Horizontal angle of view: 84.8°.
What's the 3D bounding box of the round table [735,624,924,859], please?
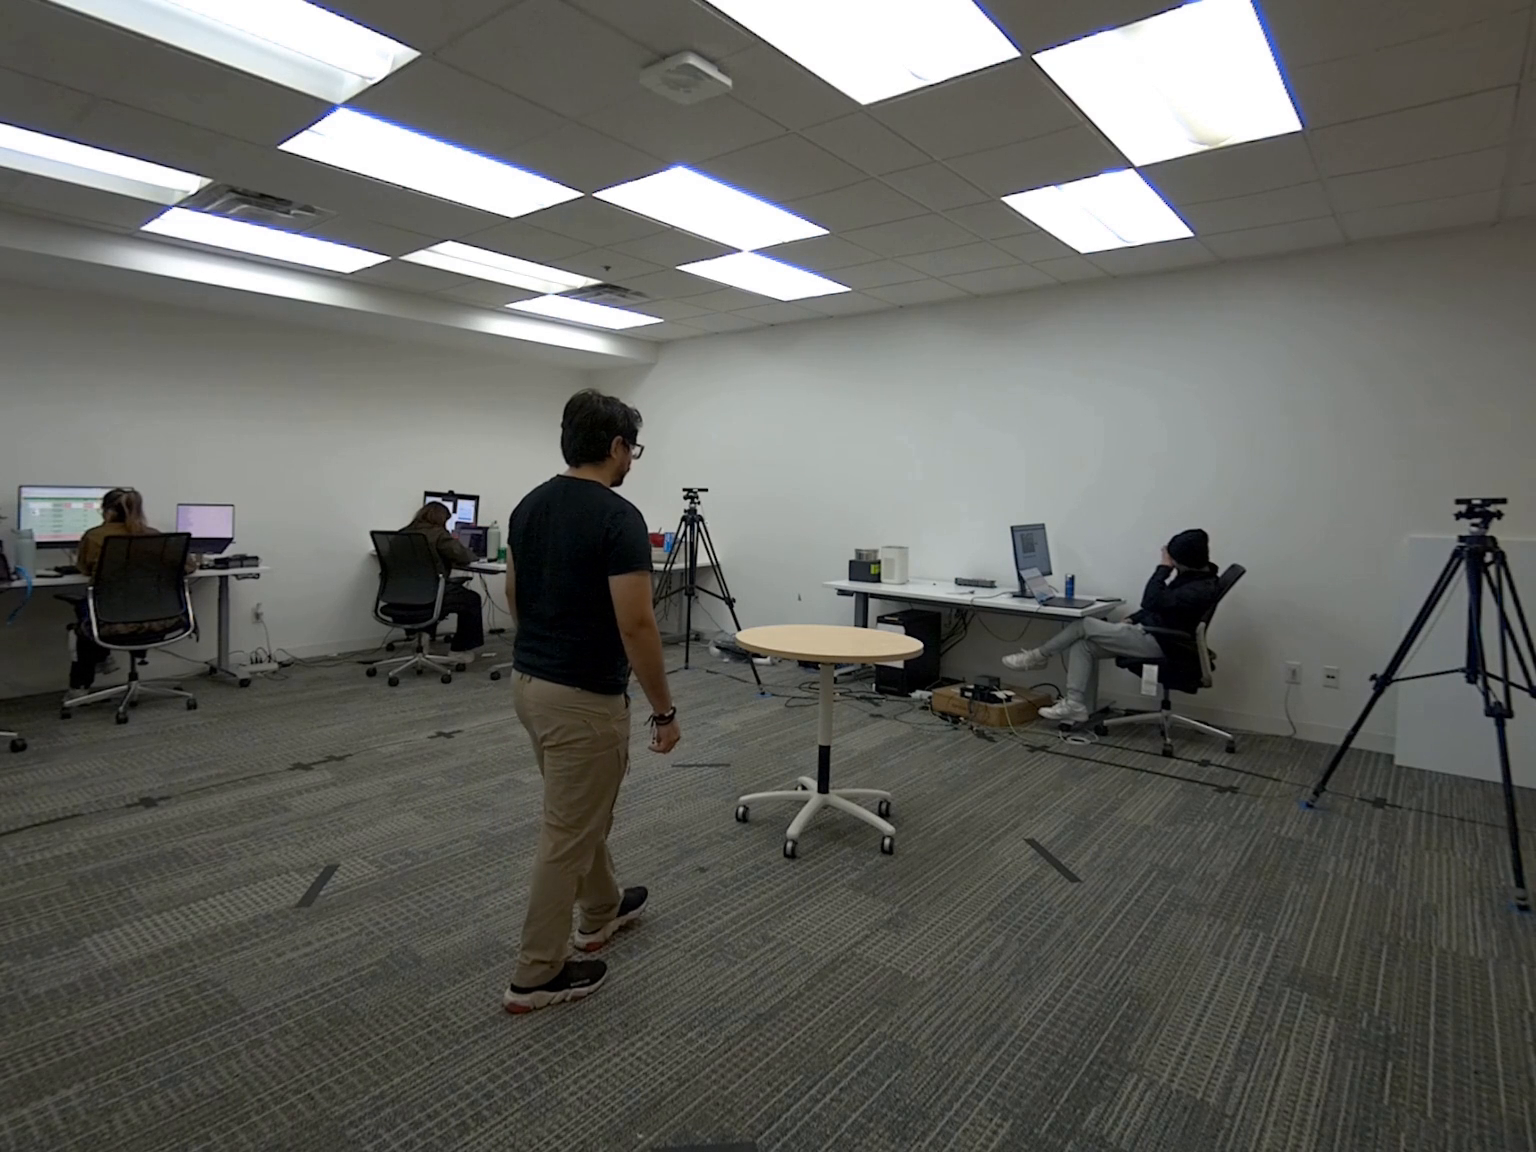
[{"bbox_3d":[0.208,0.643,3.530,0.784,0.784,0.789,1,4,-2],"label":"round table"}]
